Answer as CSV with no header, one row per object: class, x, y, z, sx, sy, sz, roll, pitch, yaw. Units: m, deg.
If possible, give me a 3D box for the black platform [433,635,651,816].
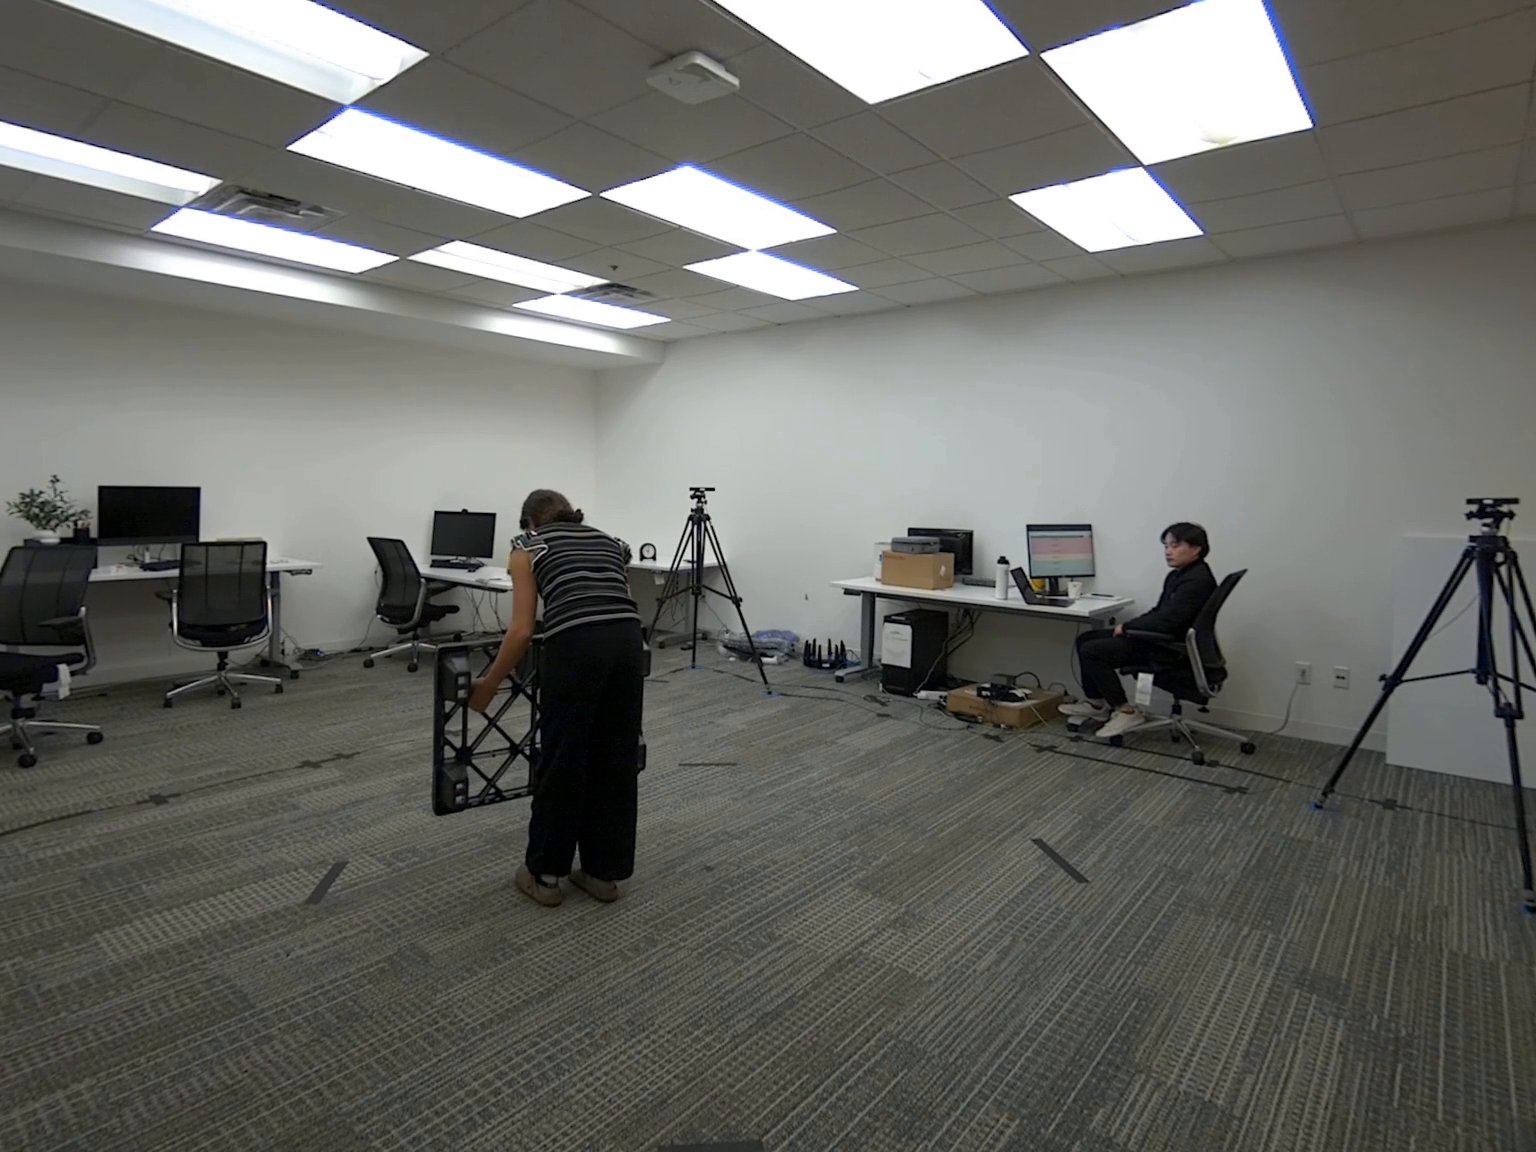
black platform,-0.796,0.512,3.064,0.783,0.601,0.148,-2,10,-34
